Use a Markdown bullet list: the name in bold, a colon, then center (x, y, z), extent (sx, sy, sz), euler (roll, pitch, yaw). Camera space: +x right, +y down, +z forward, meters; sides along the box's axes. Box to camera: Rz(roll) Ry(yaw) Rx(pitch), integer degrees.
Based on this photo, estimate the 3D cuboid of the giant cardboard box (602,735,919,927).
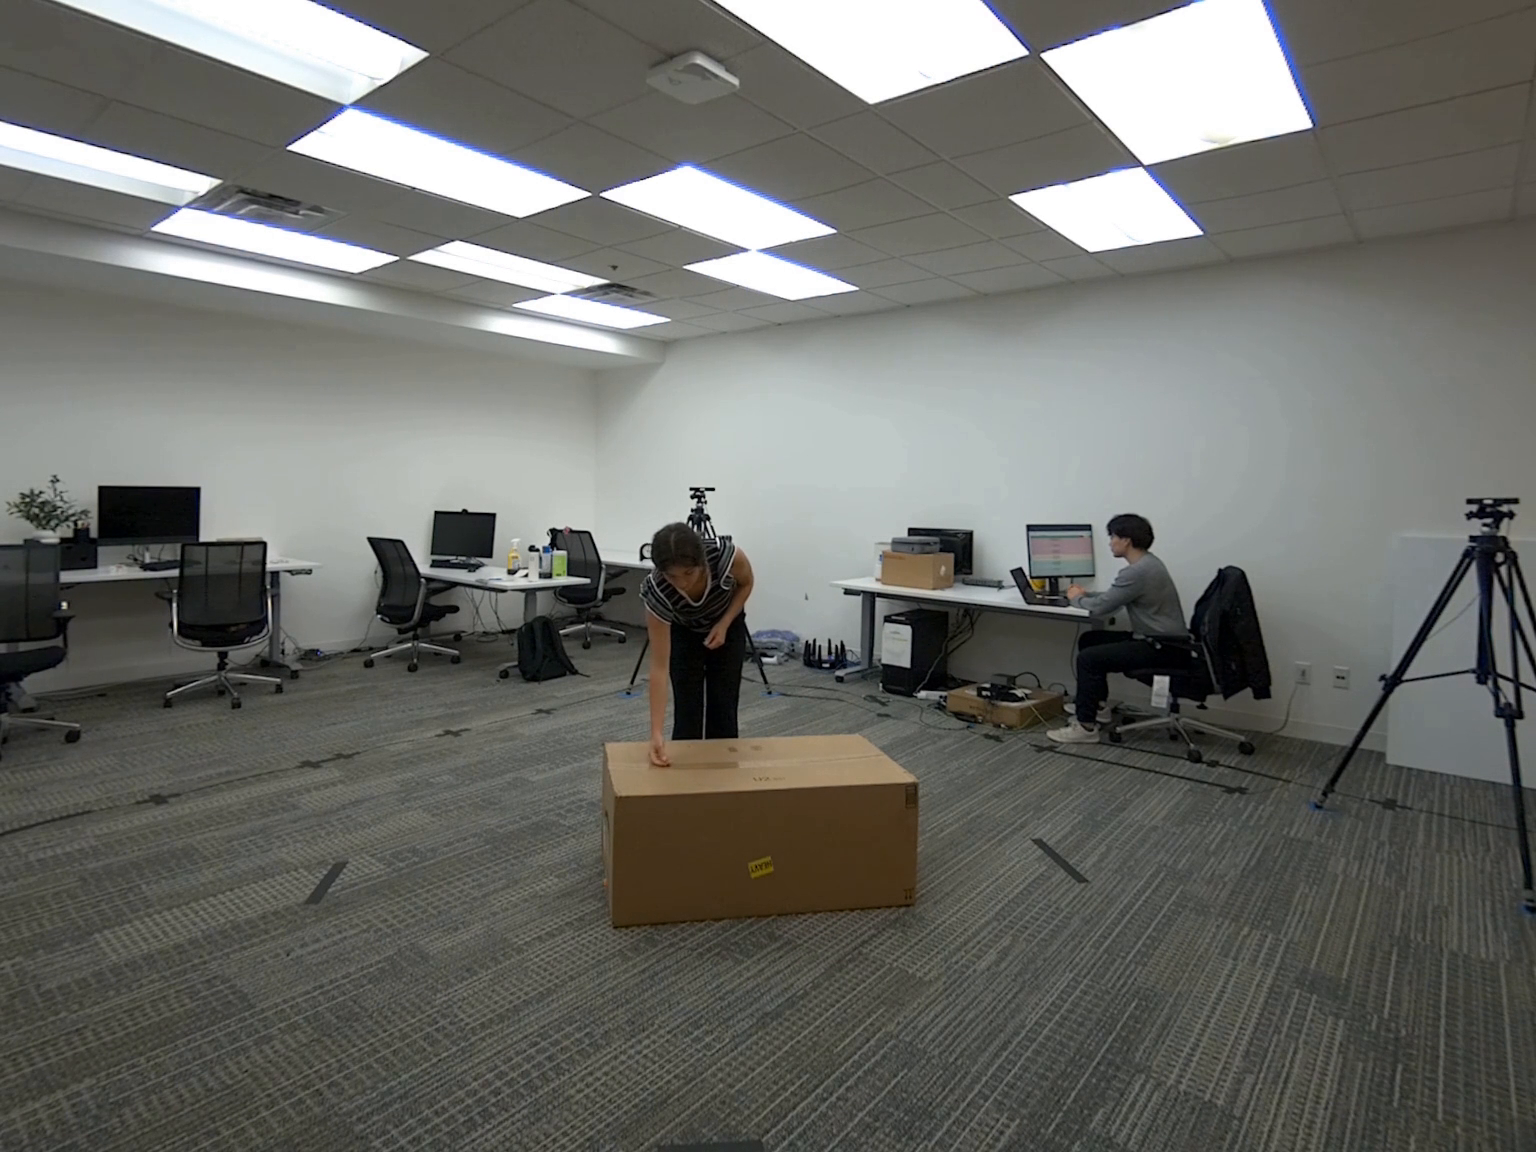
- **giant cardboard box**: center (-0.068, 0.867, 3.035), extent (1.013, 0.425, 0.587), euler (0, 4, -12)
